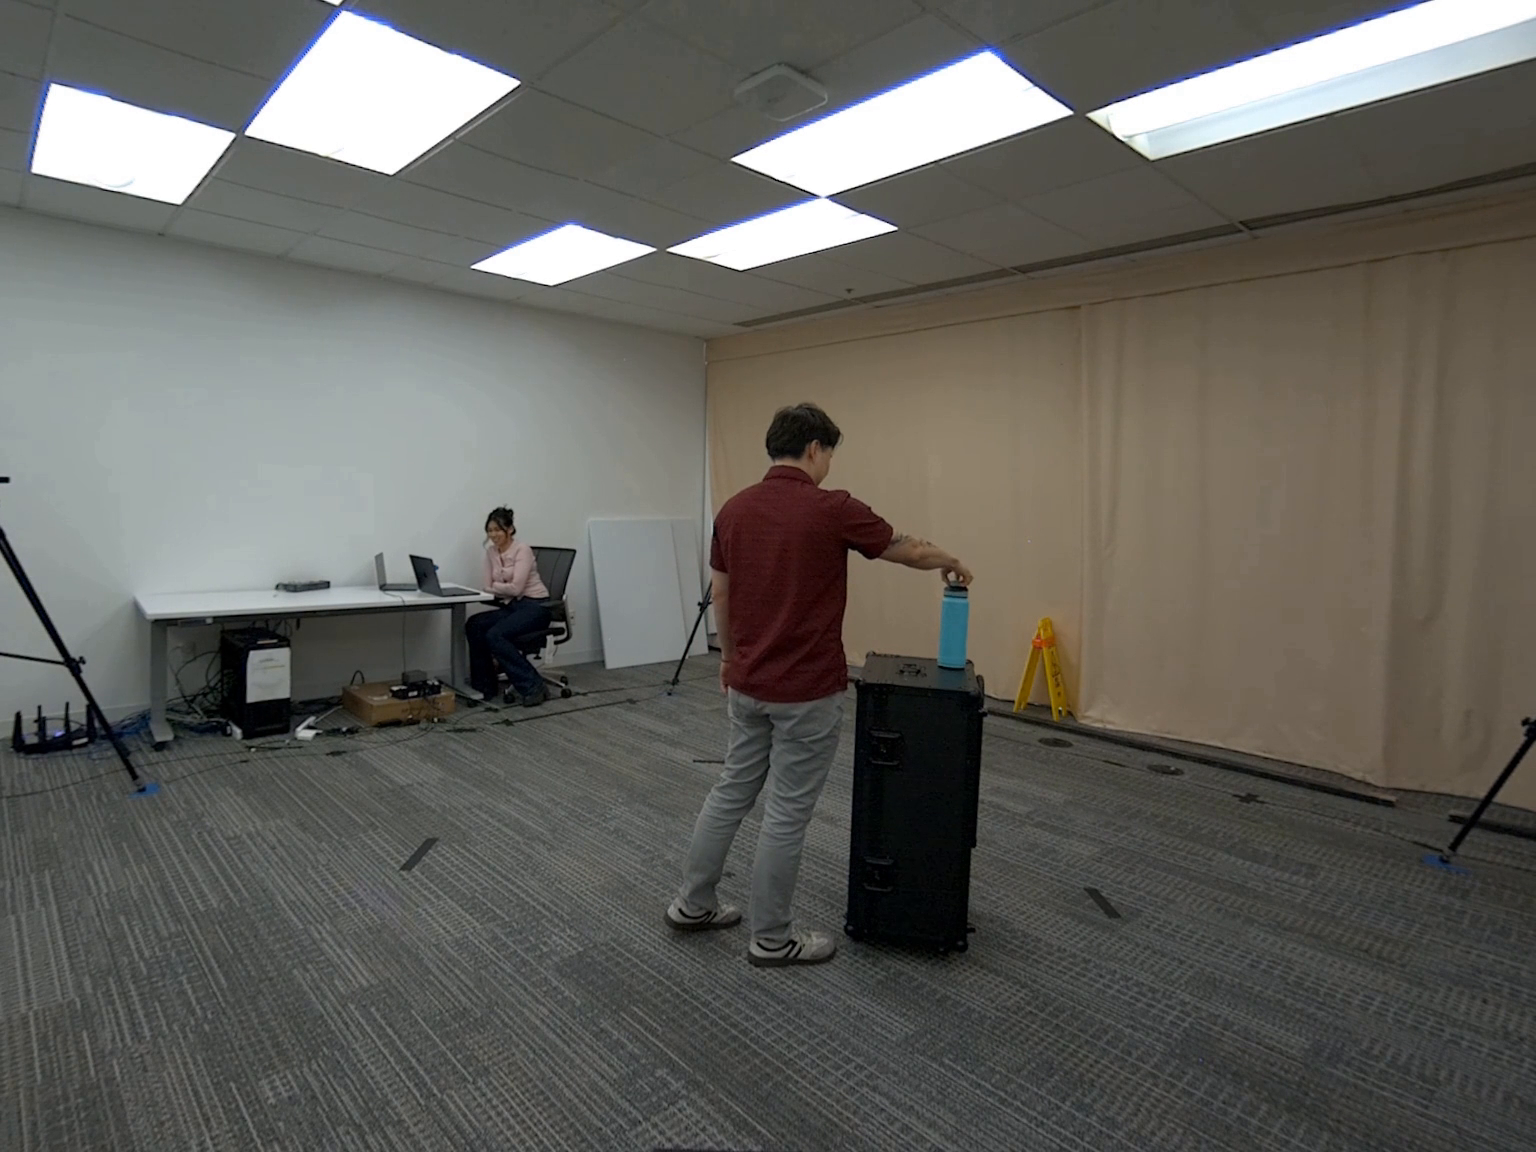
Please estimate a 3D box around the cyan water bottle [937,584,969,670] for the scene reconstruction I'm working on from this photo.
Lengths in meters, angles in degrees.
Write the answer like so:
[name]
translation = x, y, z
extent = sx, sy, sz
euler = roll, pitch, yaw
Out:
[cyan water bottle]
translation = 0.616, 0.161, 2.791
extent = 0.092, 0.283, 0.092
euler = 5, -1, -1
